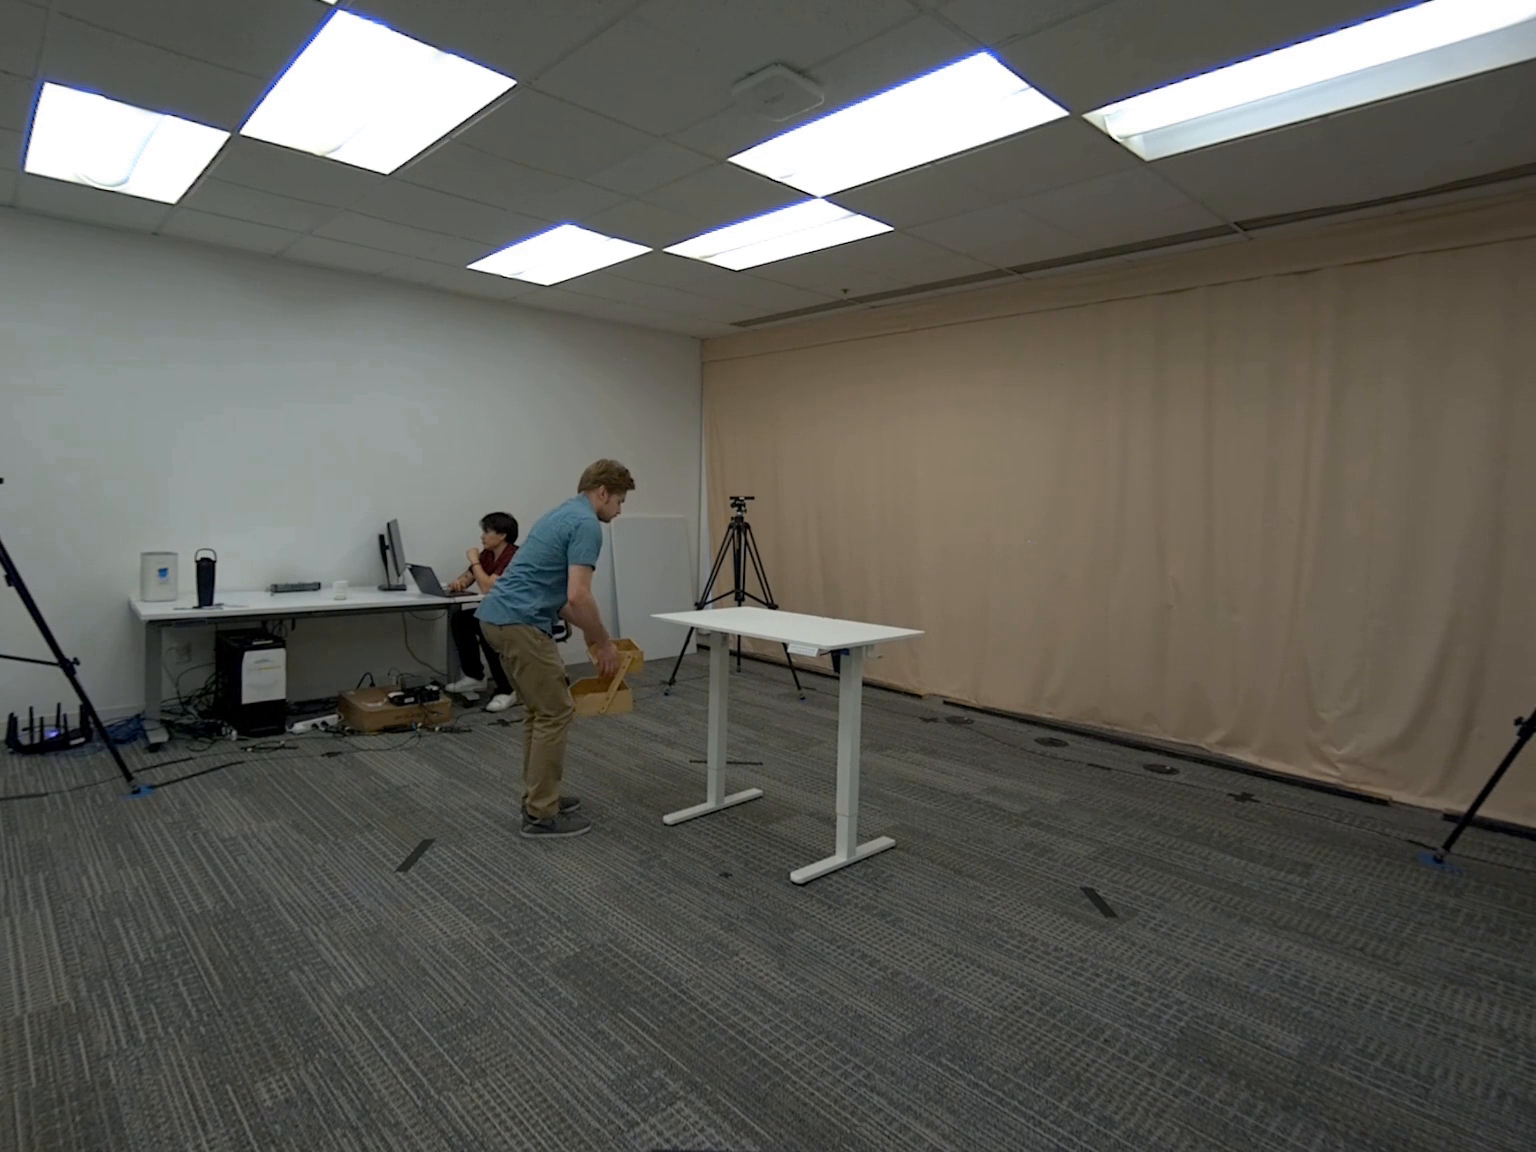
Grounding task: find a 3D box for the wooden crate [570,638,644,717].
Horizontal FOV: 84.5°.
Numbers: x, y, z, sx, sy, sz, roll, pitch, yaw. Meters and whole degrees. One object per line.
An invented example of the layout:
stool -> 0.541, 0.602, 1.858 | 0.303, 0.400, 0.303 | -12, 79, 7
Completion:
wooden crate -> -0.736, 0.438, 3.700 | 0.298, 0.272, 0.330 | -2, 7, -17
